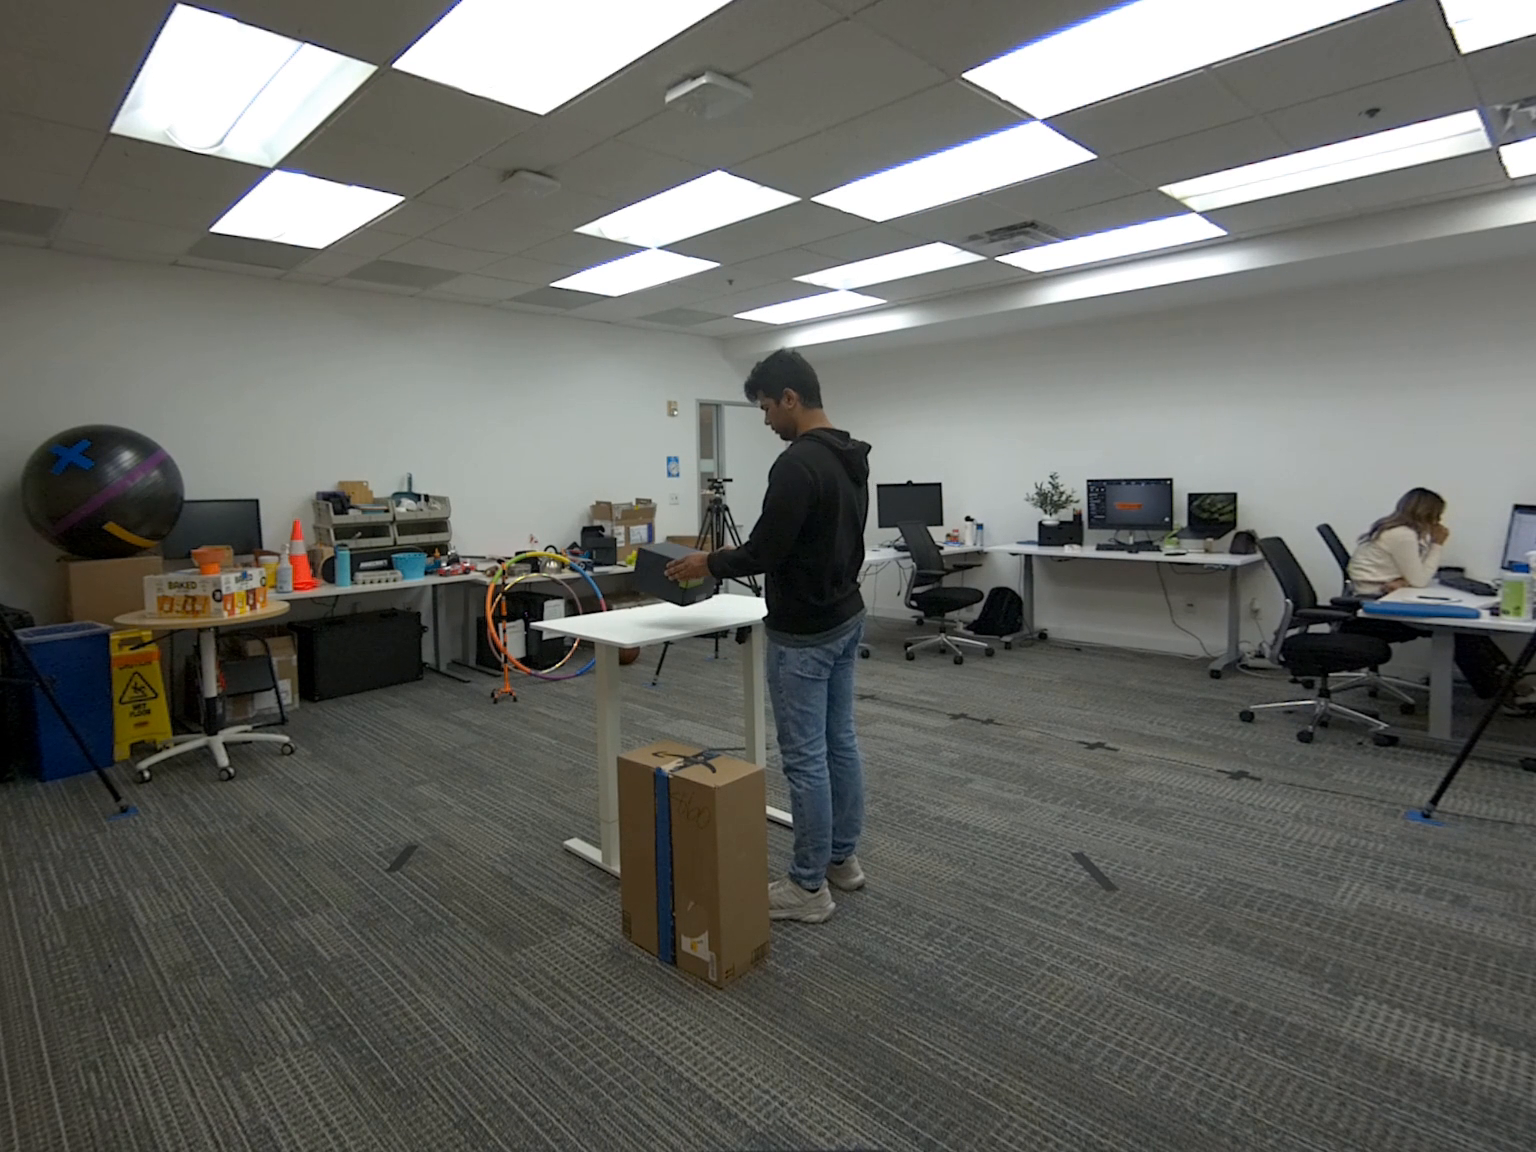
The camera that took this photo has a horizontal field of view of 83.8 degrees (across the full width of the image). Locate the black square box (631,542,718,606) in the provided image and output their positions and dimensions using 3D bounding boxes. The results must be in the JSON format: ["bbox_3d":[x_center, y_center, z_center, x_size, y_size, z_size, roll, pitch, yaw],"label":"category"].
[{"bbox_3d":[-0.316,-0.005,3.021,0.222,0.155,0.224,15,12,20],"label":"black square box"}]
